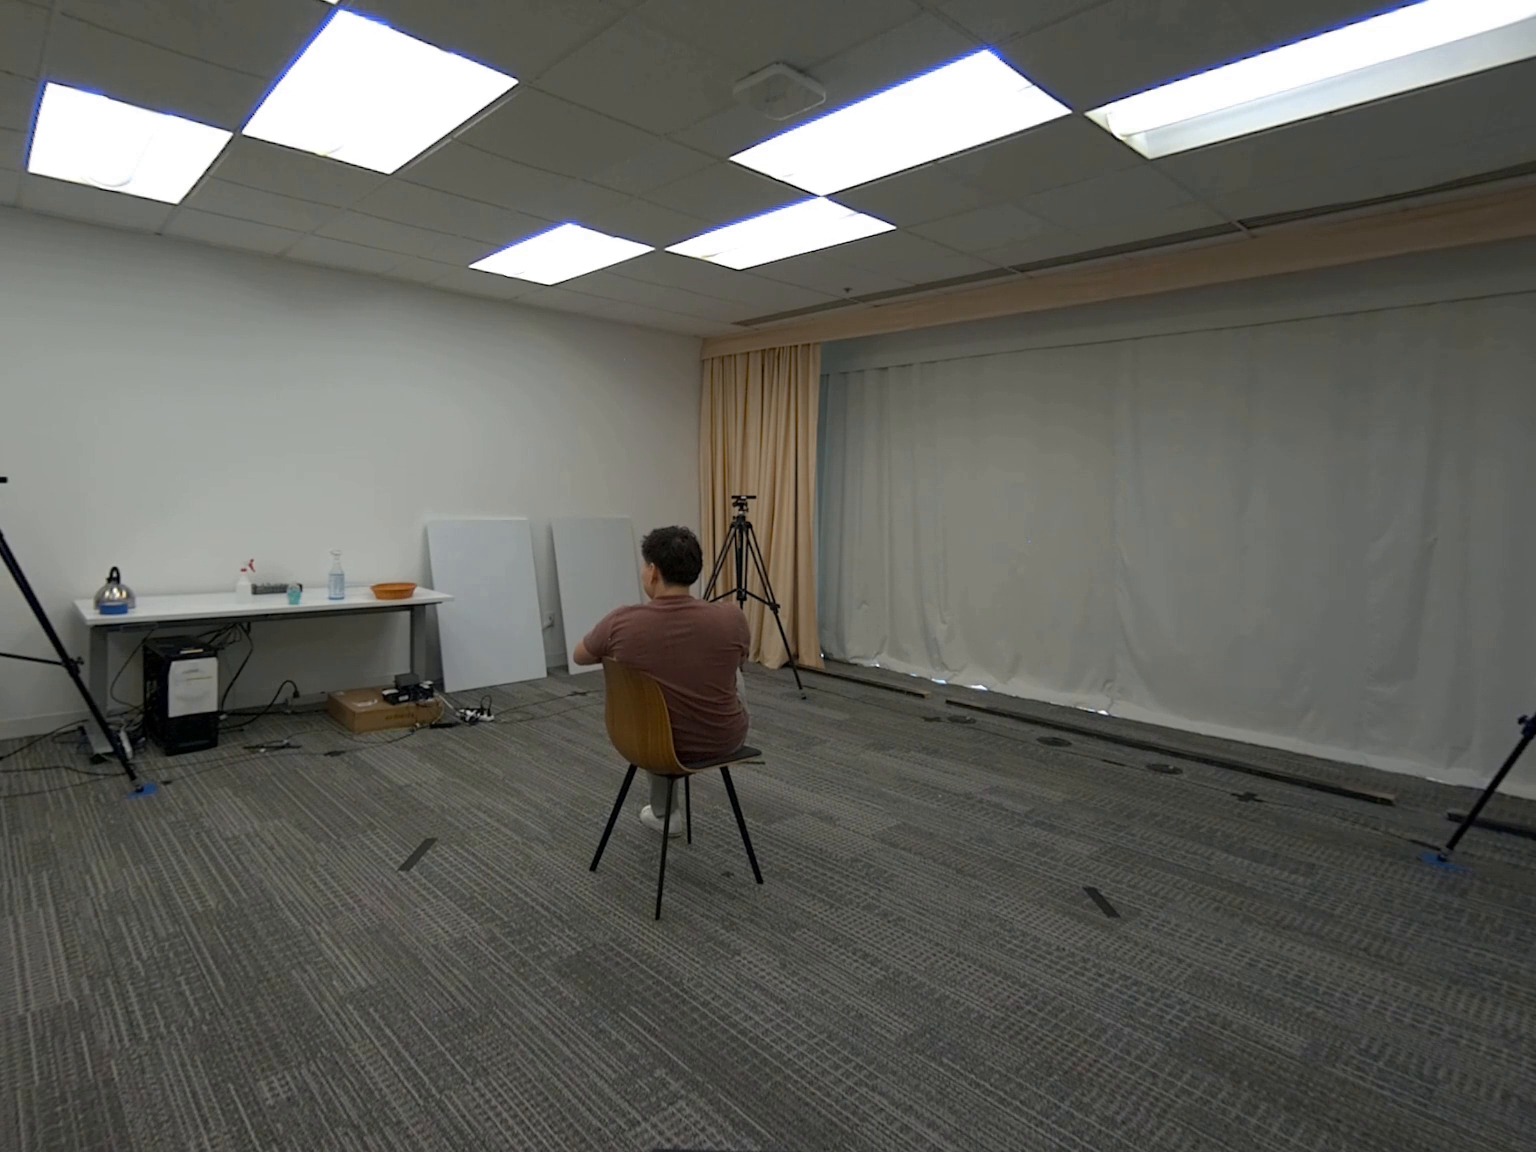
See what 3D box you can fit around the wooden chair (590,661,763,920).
[{"bbox_3d":[-0.326,0.677,3.042,0.512,0.873,0.490,-7,8,-39],"label":"wooden chair"}]
